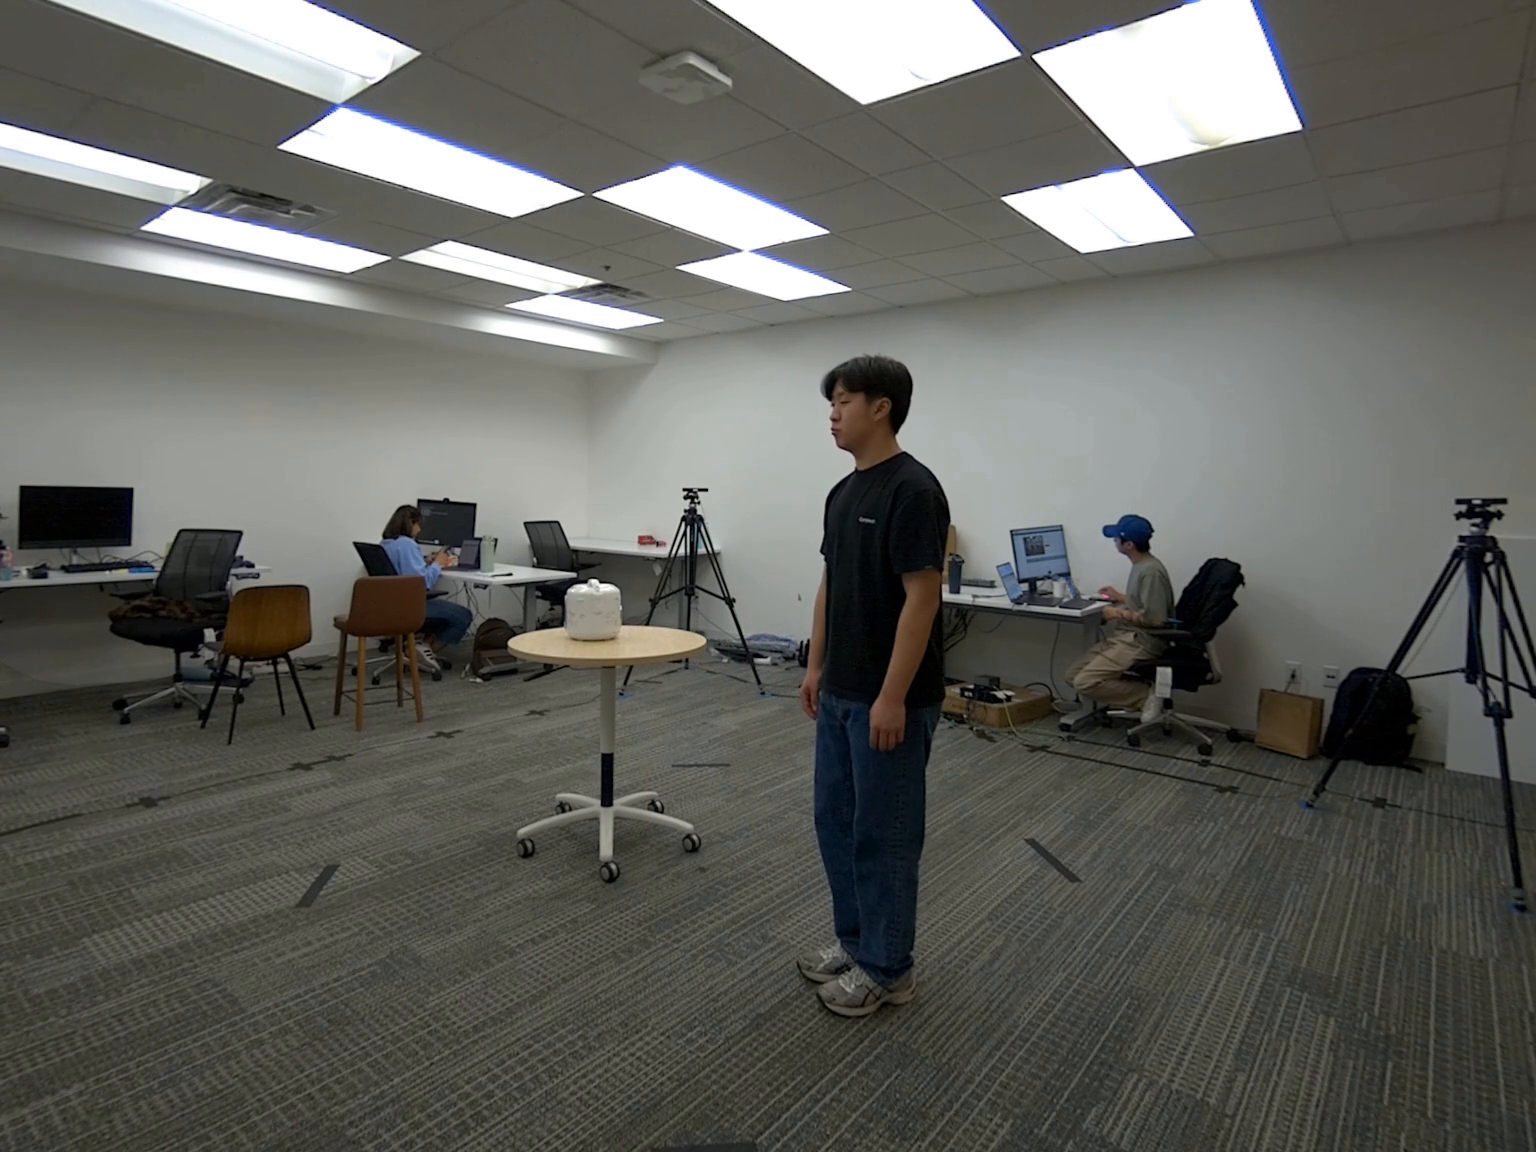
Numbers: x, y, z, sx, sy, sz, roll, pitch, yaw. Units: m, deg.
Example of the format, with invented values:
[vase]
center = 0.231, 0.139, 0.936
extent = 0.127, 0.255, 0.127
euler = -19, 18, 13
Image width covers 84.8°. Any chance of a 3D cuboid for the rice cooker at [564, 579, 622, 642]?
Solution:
[rice cooker]
center = -0.699, 0.124, 3.368
extent = 0.213, 0.232, 0.225
euler = -1, 5, -19
